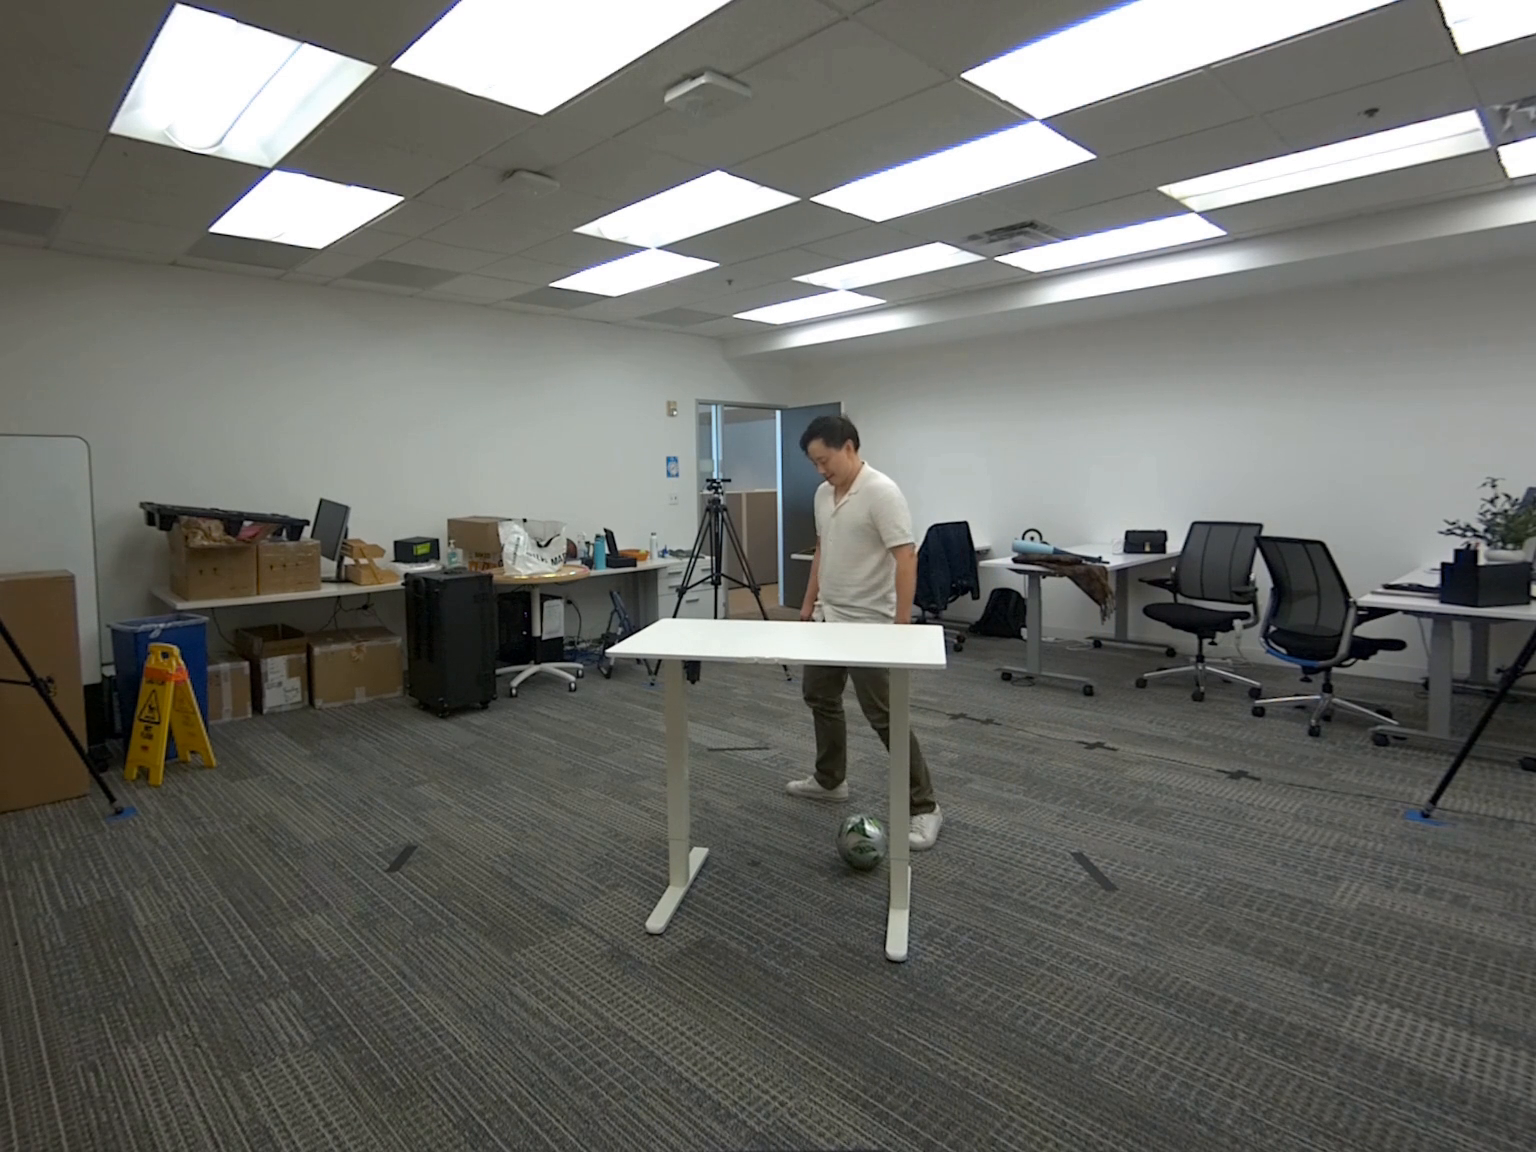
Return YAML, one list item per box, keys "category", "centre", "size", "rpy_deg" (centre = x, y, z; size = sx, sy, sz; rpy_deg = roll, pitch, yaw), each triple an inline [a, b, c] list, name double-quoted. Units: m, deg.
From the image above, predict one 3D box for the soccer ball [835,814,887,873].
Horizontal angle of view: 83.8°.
- category: "soccer ball"
  centre: [0.334, 0.948, 3.059]
  size: [0.187, 0.187, 0.188]
  rpy_deg: [-1, 5, -2]
